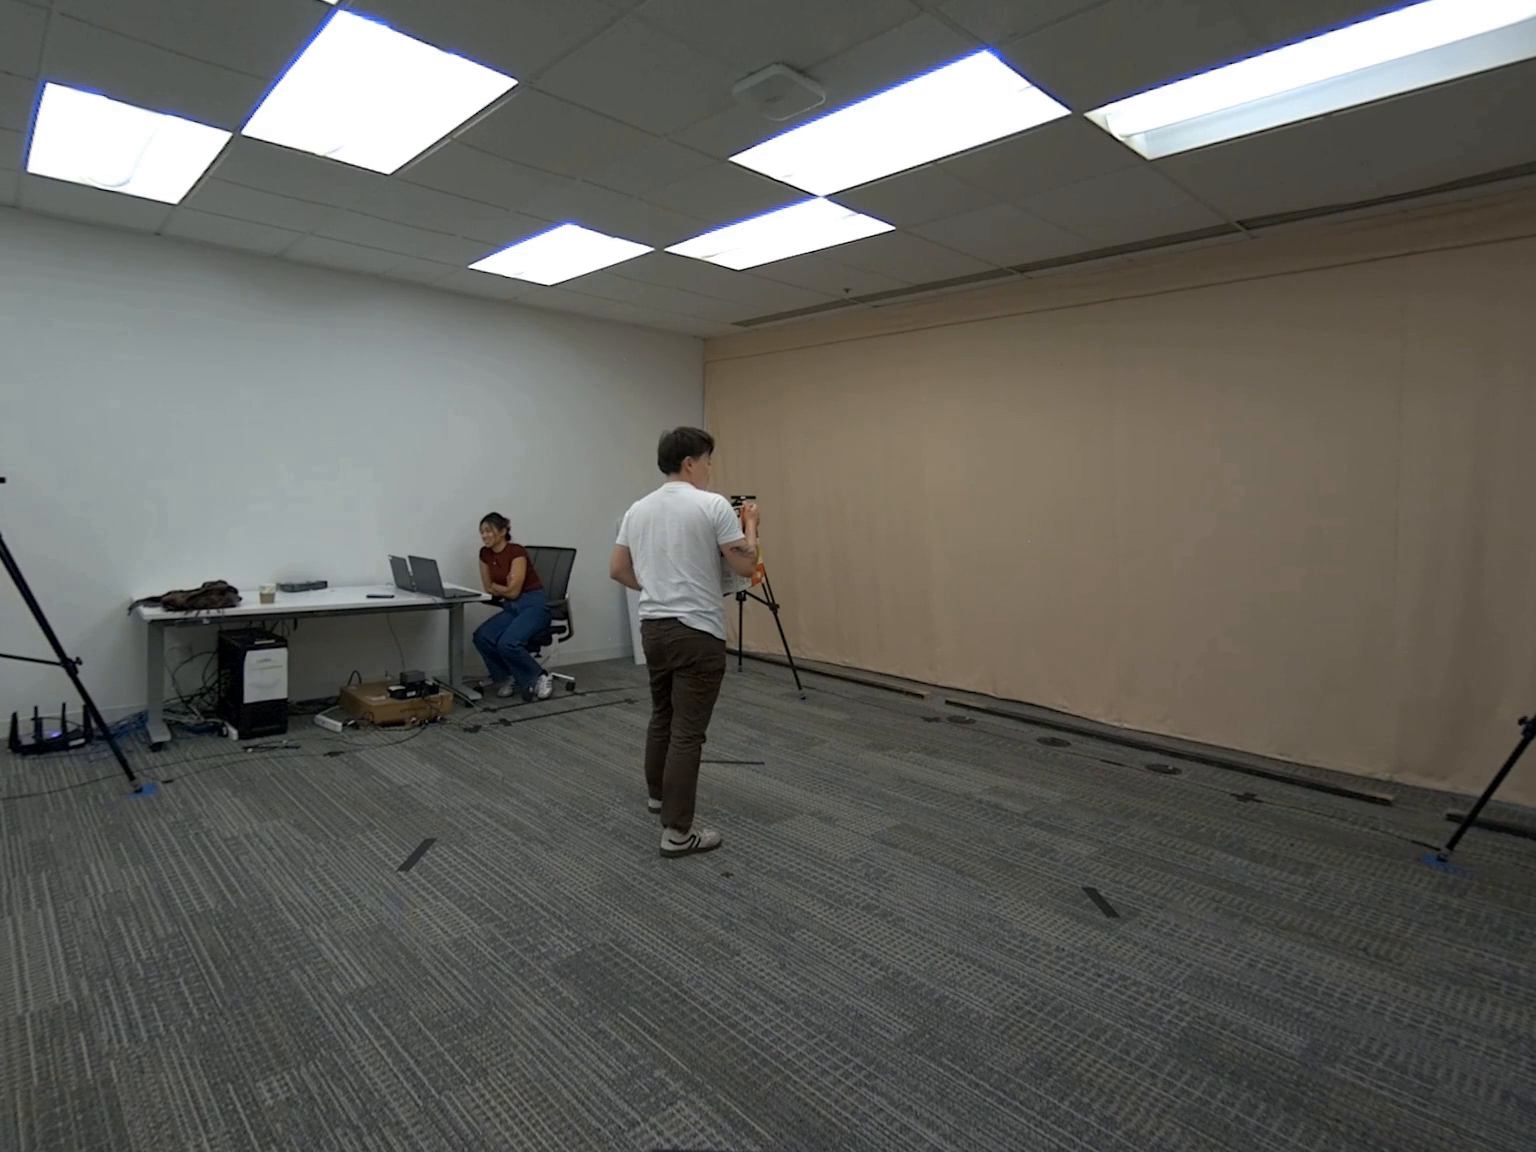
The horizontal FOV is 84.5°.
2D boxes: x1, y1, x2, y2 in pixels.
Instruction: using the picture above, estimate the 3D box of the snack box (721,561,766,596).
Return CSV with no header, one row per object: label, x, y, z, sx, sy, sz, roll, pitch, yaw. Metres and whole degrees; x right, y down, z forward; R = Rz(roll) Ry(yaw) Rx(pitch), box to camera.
snack box,-0.268,-0.112,3.607,0.413,0.339,0.202,-5,6,34
